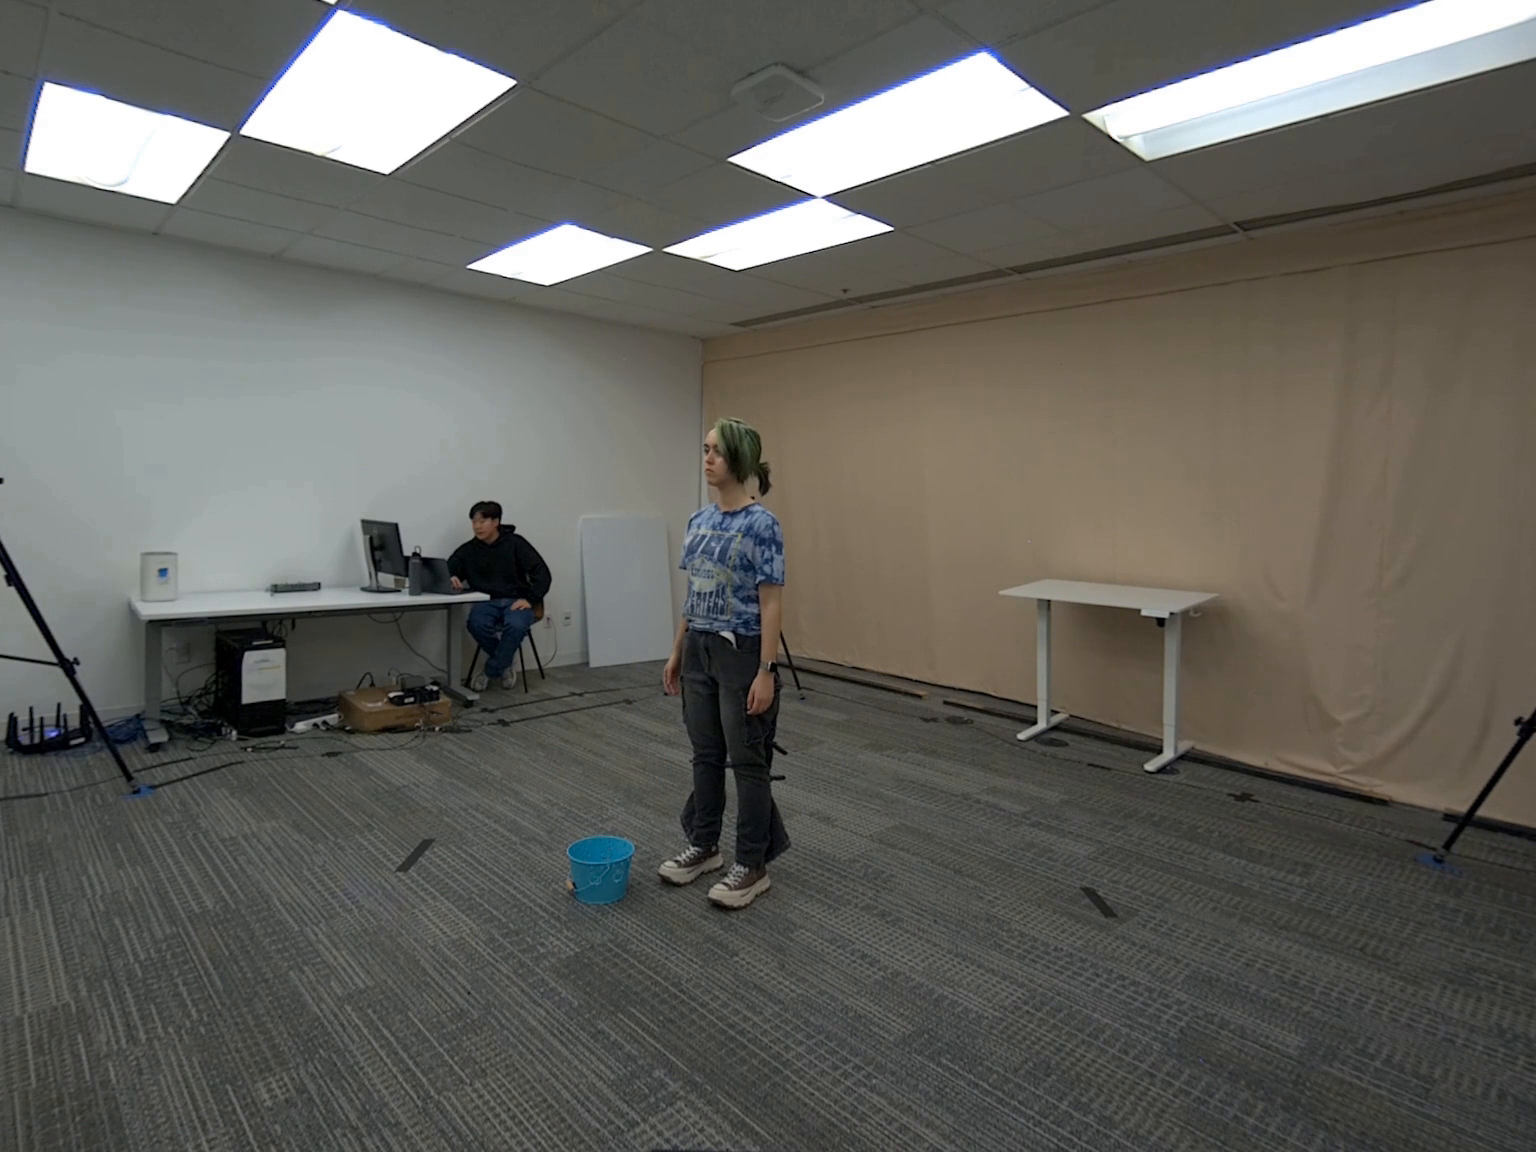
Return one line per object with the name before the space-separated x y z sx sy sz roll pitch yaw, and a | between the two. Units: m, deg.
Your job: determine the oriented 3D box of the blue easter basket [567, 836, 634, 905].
blue easter basket | -0.600 1.031 2.949 0.243 0.155 0.244 1 4 -1
